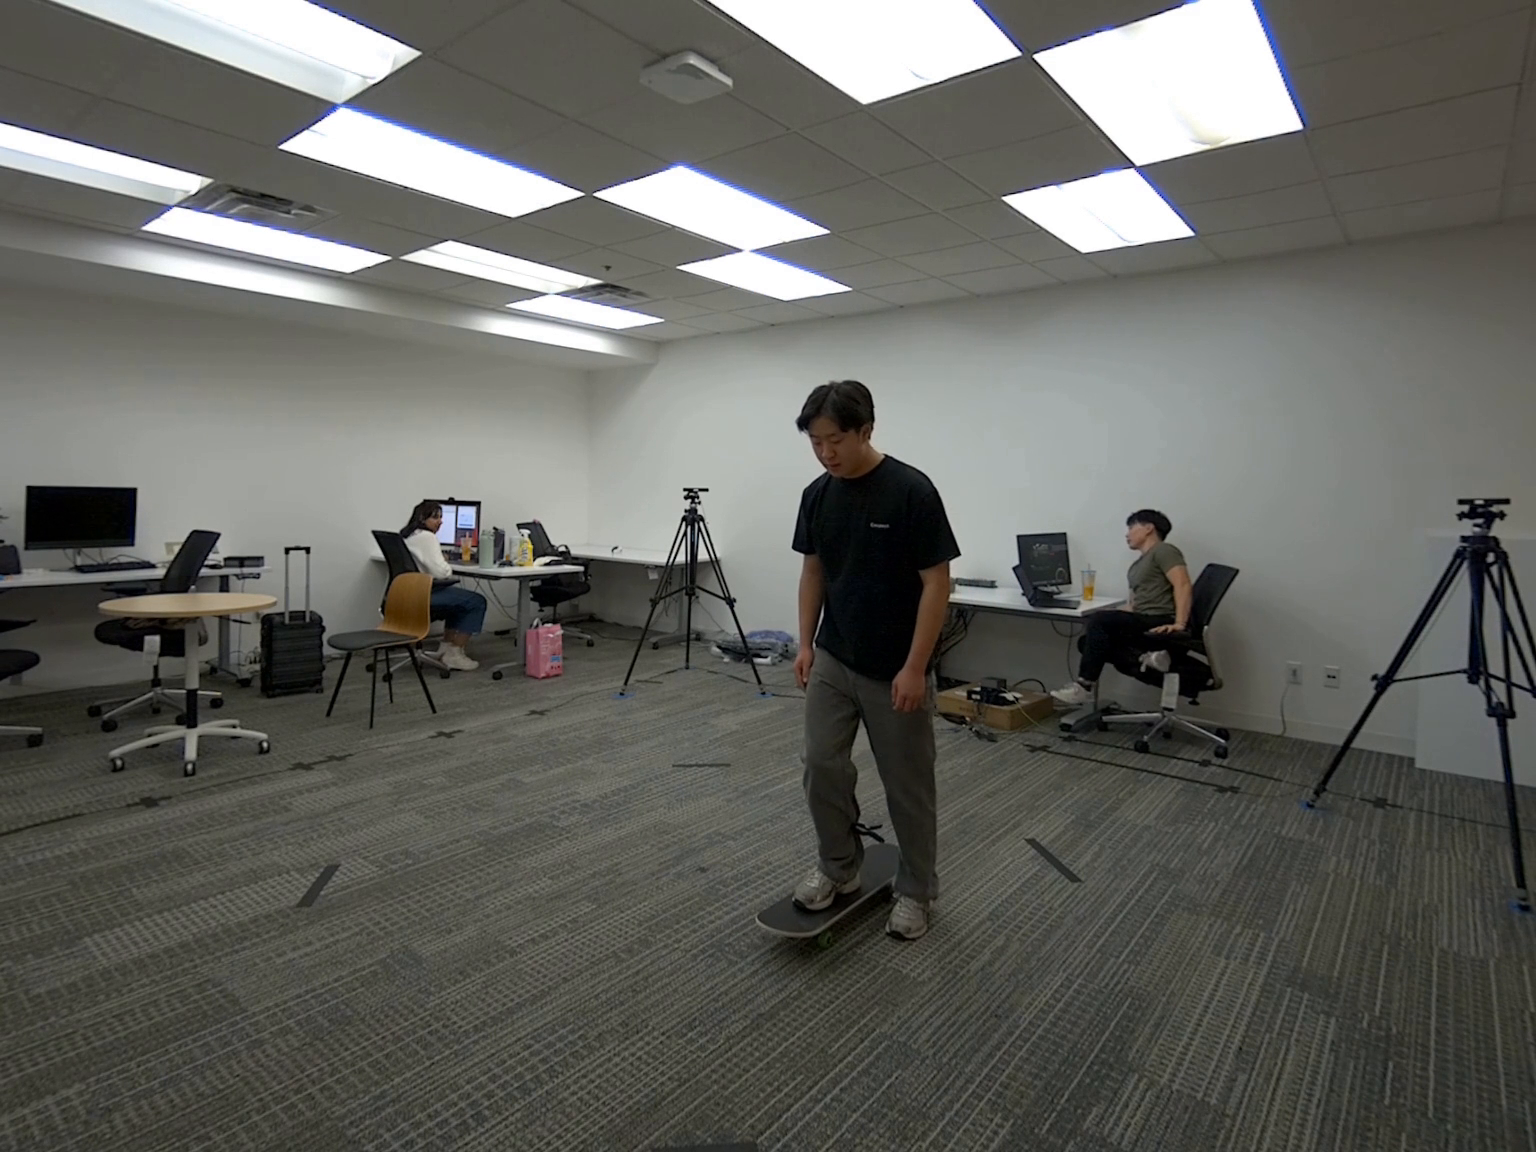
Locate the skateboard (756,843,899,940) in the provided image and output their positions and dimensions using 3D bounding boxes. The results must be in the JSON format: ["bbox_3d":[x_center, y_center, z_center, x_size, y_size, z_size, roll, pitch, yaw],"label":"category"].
[{"bbox_3d":[0.224,1.059,2.798,0.200,0.110,0.763,4,5,36],"label":"skateboard"}]
